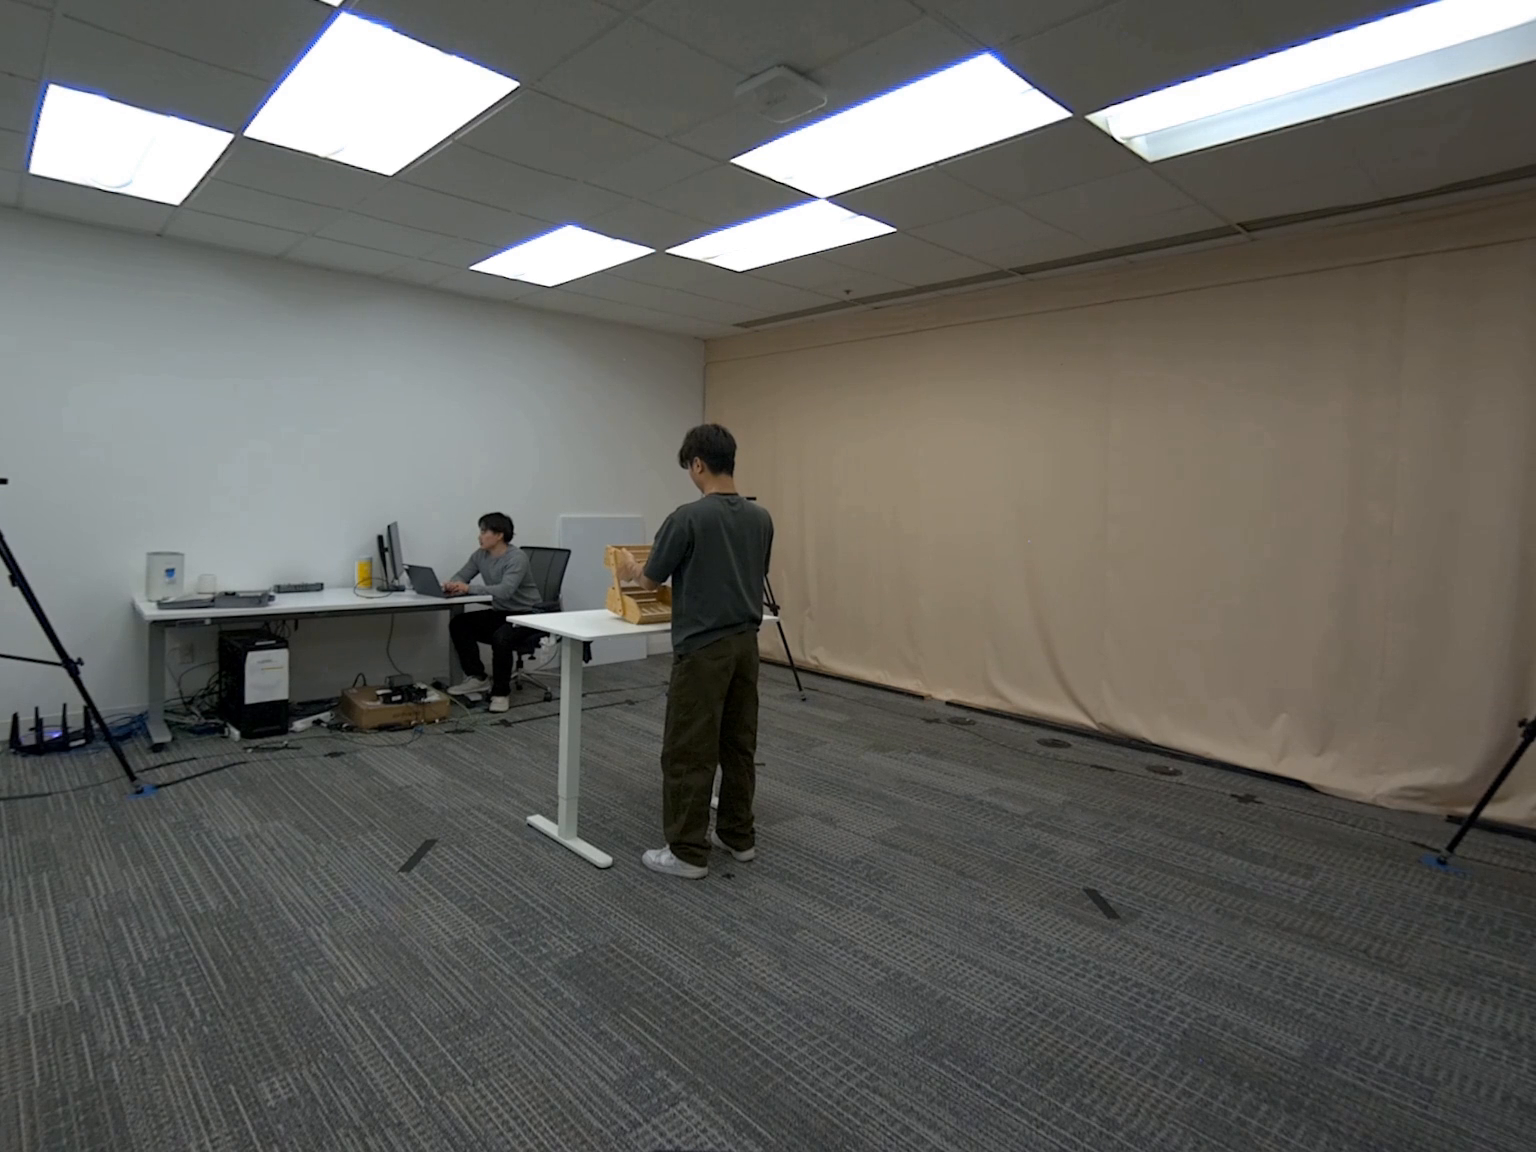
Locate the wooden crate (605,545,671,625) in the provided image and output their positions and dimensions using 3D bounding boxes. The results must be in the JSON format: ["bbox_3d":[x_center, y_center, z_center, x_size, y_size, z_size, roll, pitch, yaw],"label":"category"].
[{"bbox_3d":[-0.485,0.026,3.506,0.317,0.271,0.311,-2,14,-42],"label":"wooden crate"}]
